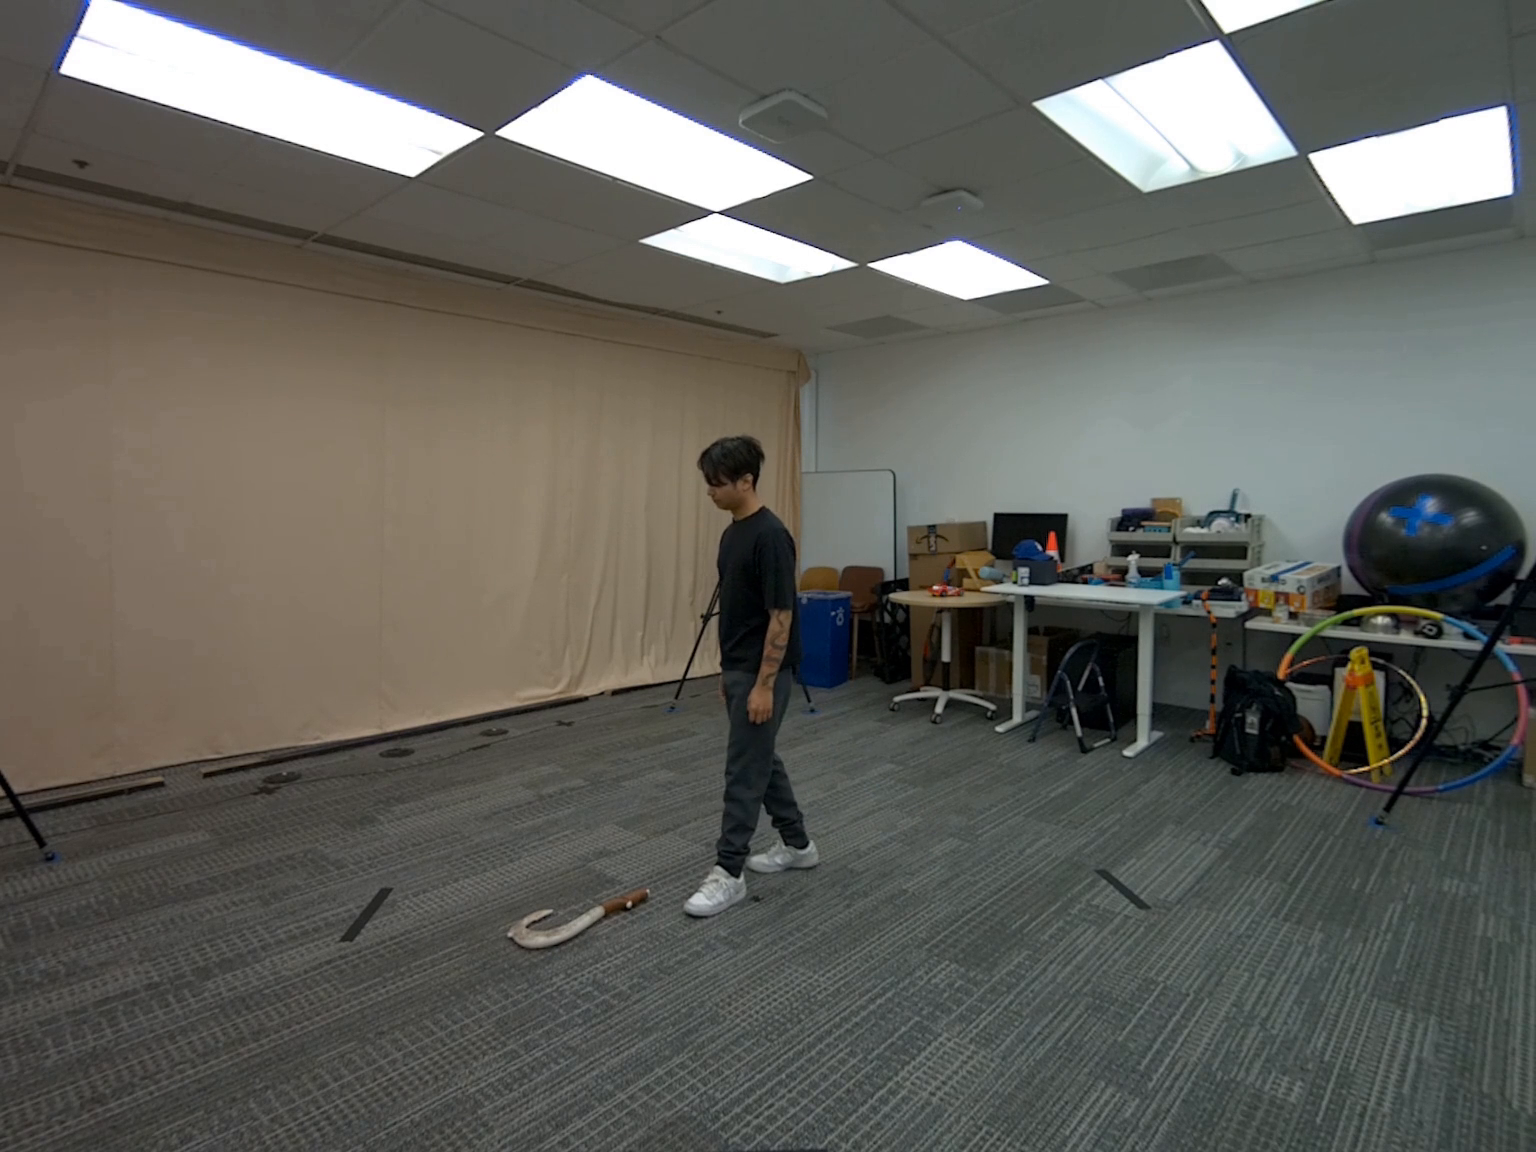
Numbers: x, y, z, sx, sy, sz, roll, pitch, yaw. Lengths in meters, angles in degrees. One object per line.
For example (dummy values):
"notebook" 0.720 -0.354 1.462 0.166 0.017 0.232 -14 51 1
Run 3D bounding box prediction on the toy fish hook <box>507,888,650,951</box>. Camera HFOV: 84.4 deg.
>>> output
"toy fish hook" -0.636 1.140 2.848 0.491 0.048 0.232 -4 7 -44
